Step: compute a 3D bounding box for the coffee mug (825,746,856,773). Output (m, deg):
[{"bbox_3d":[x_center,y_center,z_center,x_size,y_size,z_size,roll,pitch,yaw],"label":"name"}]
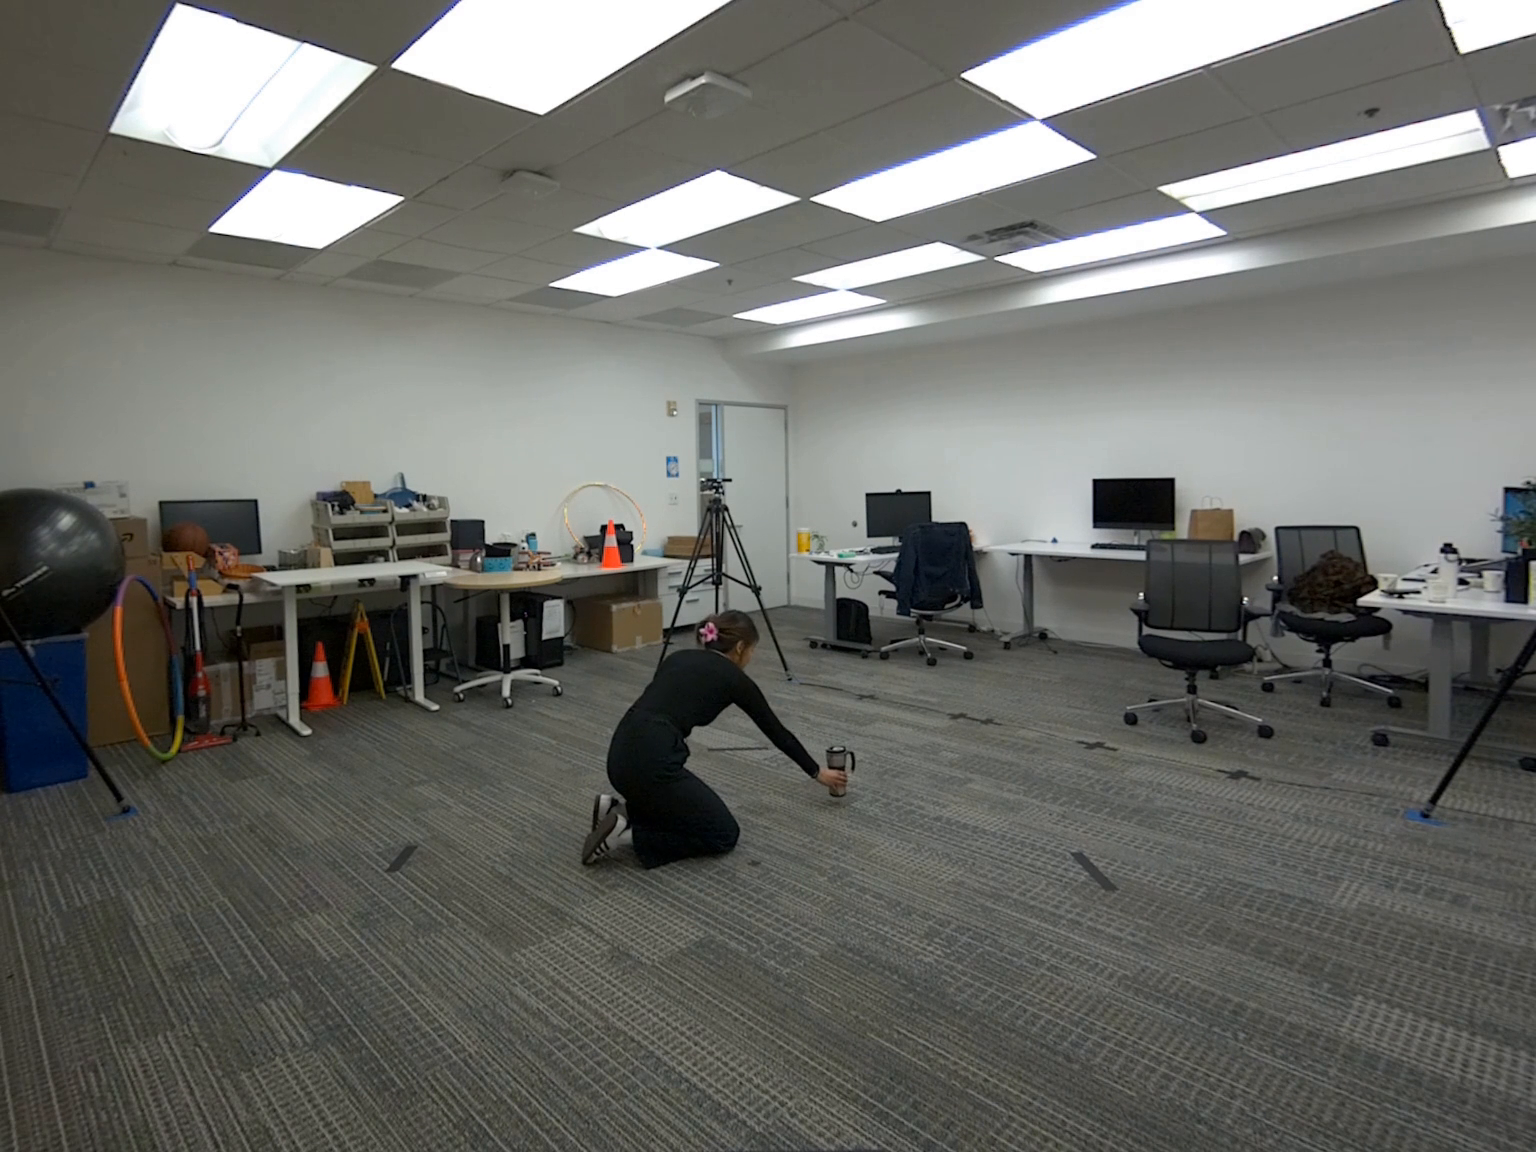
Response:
[{"bbox_3d":[0.315,0.841,3.665,0.125,0.203,0.086,-5,-1,28],"label":"coffee mug"}]
